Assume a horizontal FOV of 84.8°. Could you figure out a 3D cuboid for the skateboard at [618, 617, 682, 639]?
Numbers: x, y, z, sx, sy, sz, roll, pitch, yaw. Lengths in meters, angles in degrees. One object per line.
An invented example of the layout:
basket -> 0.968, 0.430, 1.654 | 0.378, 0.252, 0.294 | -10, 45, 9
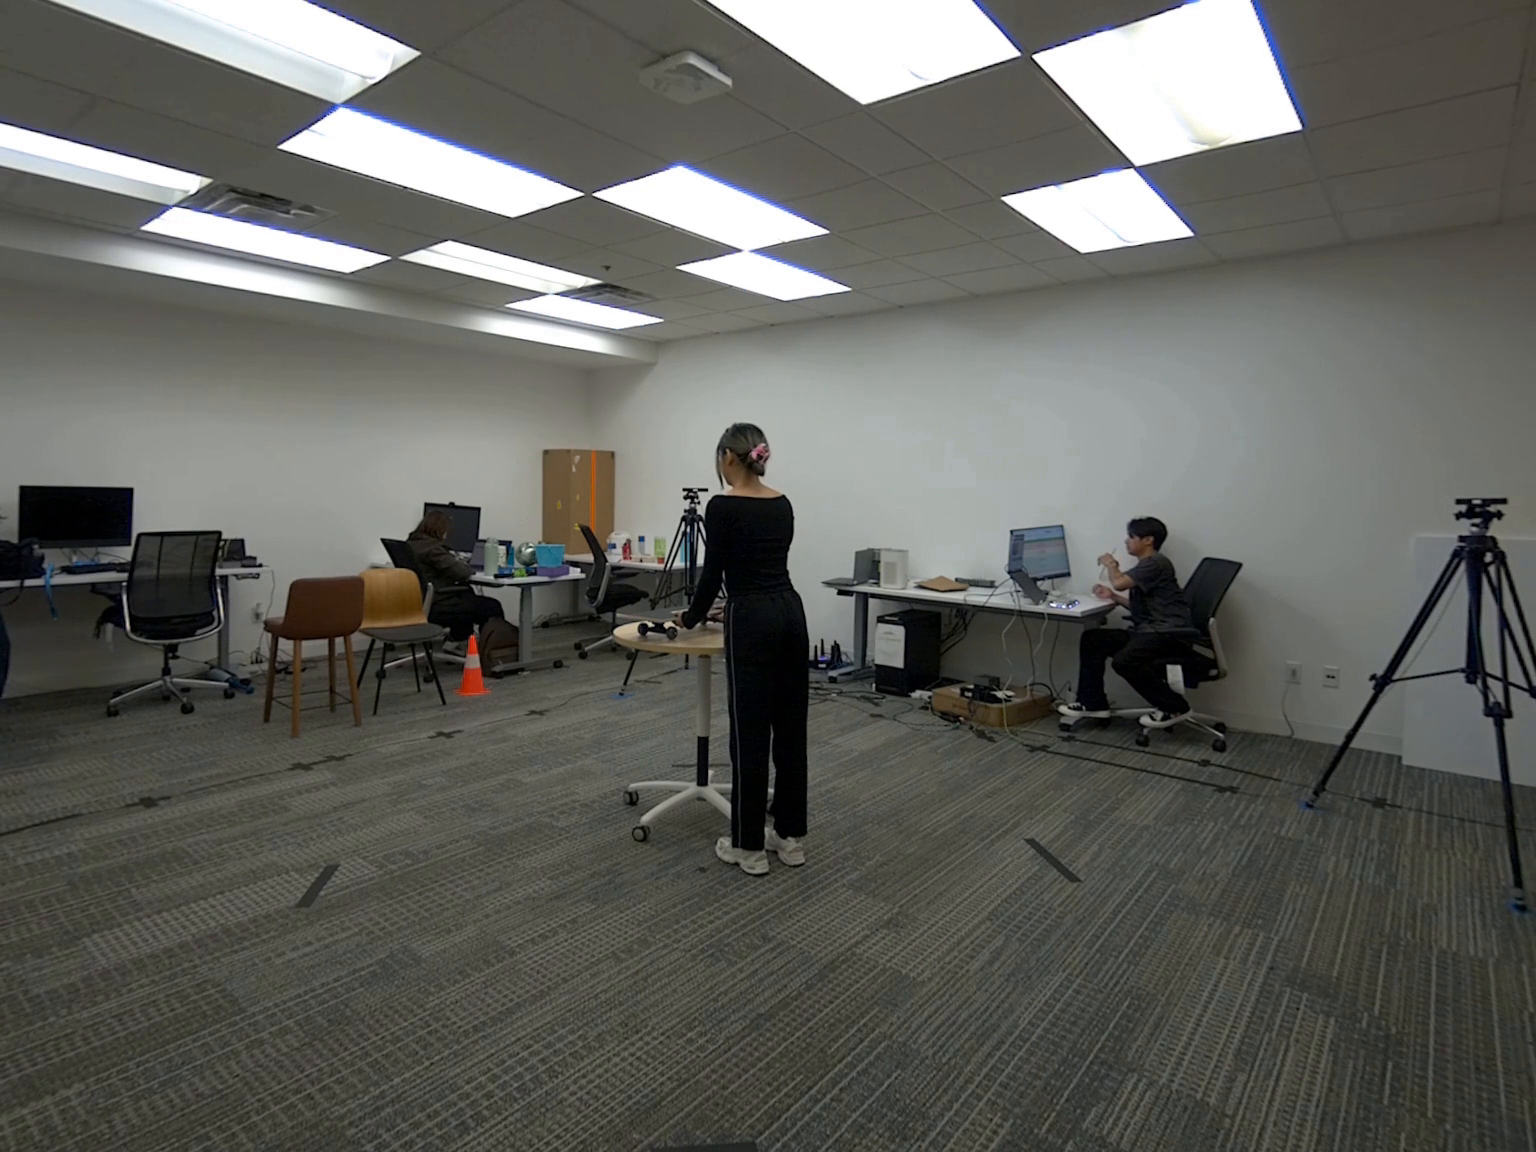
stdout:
skateboard -> -0.342, 0.182, 3.568 | 0.199, 0.110, 0.764 | 2, 5, 32
